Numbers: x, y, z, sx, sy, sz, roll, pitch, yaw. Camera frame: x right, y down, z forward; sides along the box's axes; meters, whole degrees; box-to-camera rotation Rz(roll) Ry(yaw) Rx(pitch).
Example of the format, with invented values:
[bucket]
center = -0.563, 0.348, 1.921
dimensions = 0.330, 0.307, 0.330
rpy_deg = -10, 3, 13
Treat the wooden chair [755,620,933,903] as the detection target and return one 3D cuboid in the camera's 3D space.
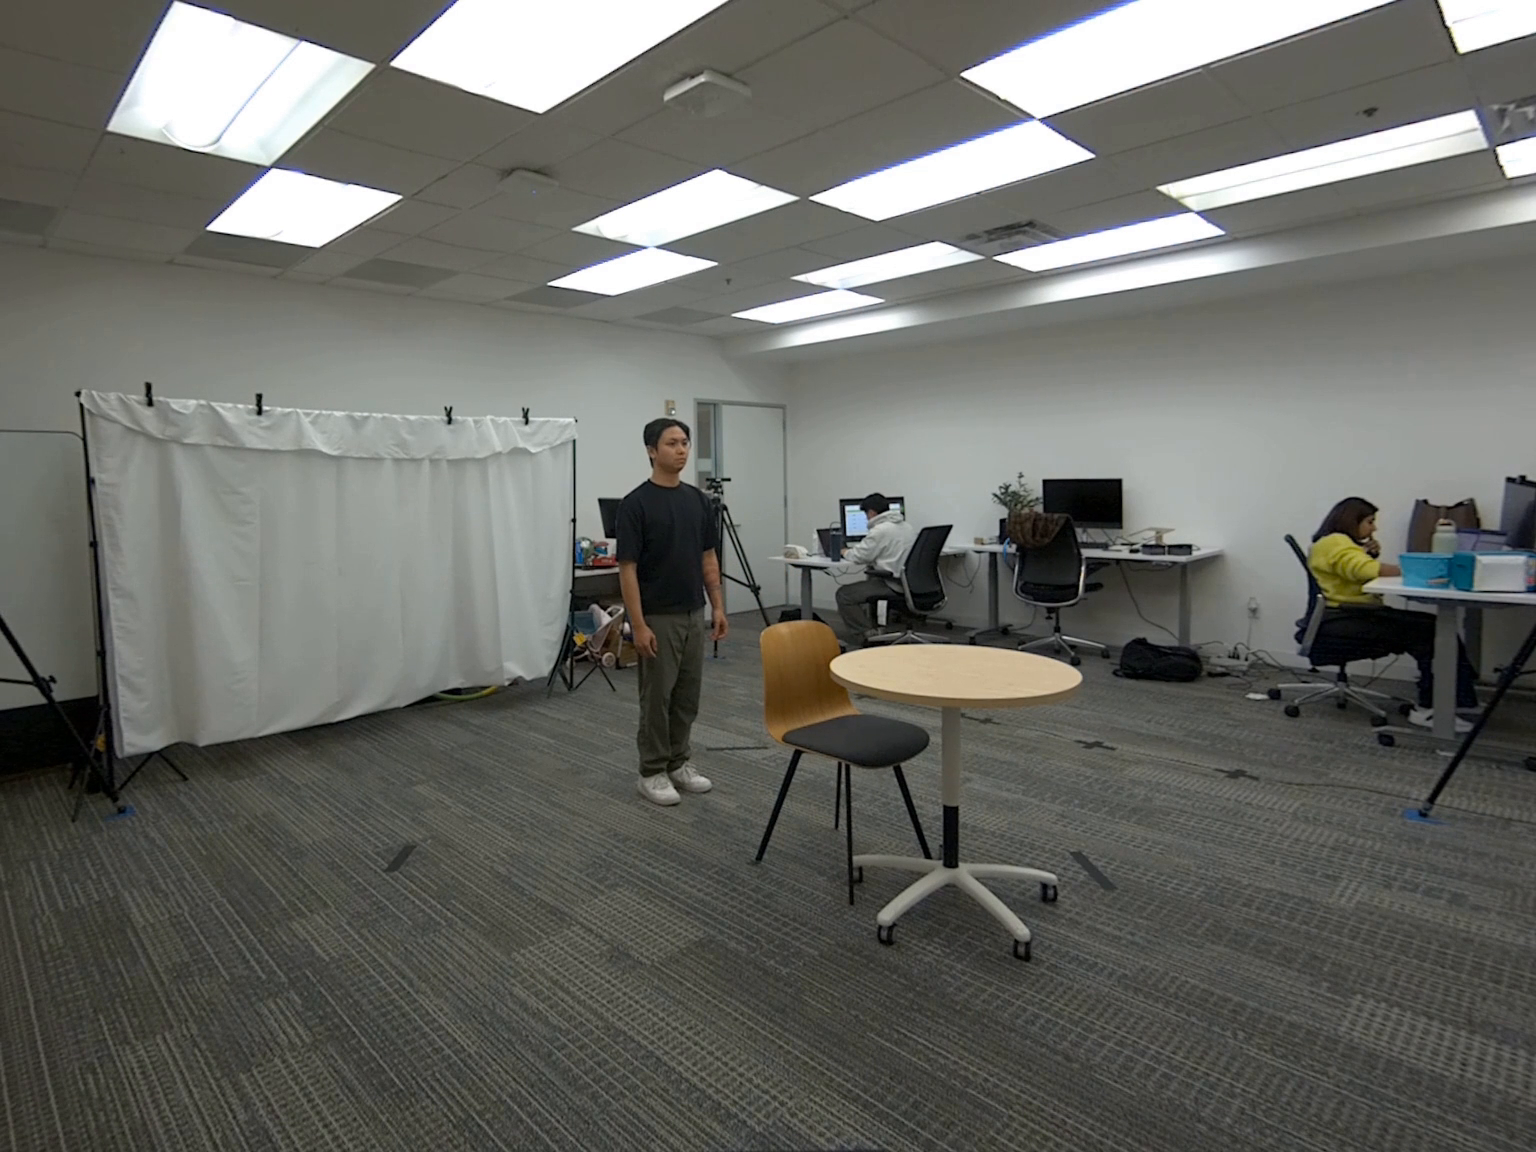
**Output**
[wooden chair]
center = 0.271, 0.617, 3.061
dimensions = 0.465, 0.877, 0.538
rpy_deg = -4, 2, -43
